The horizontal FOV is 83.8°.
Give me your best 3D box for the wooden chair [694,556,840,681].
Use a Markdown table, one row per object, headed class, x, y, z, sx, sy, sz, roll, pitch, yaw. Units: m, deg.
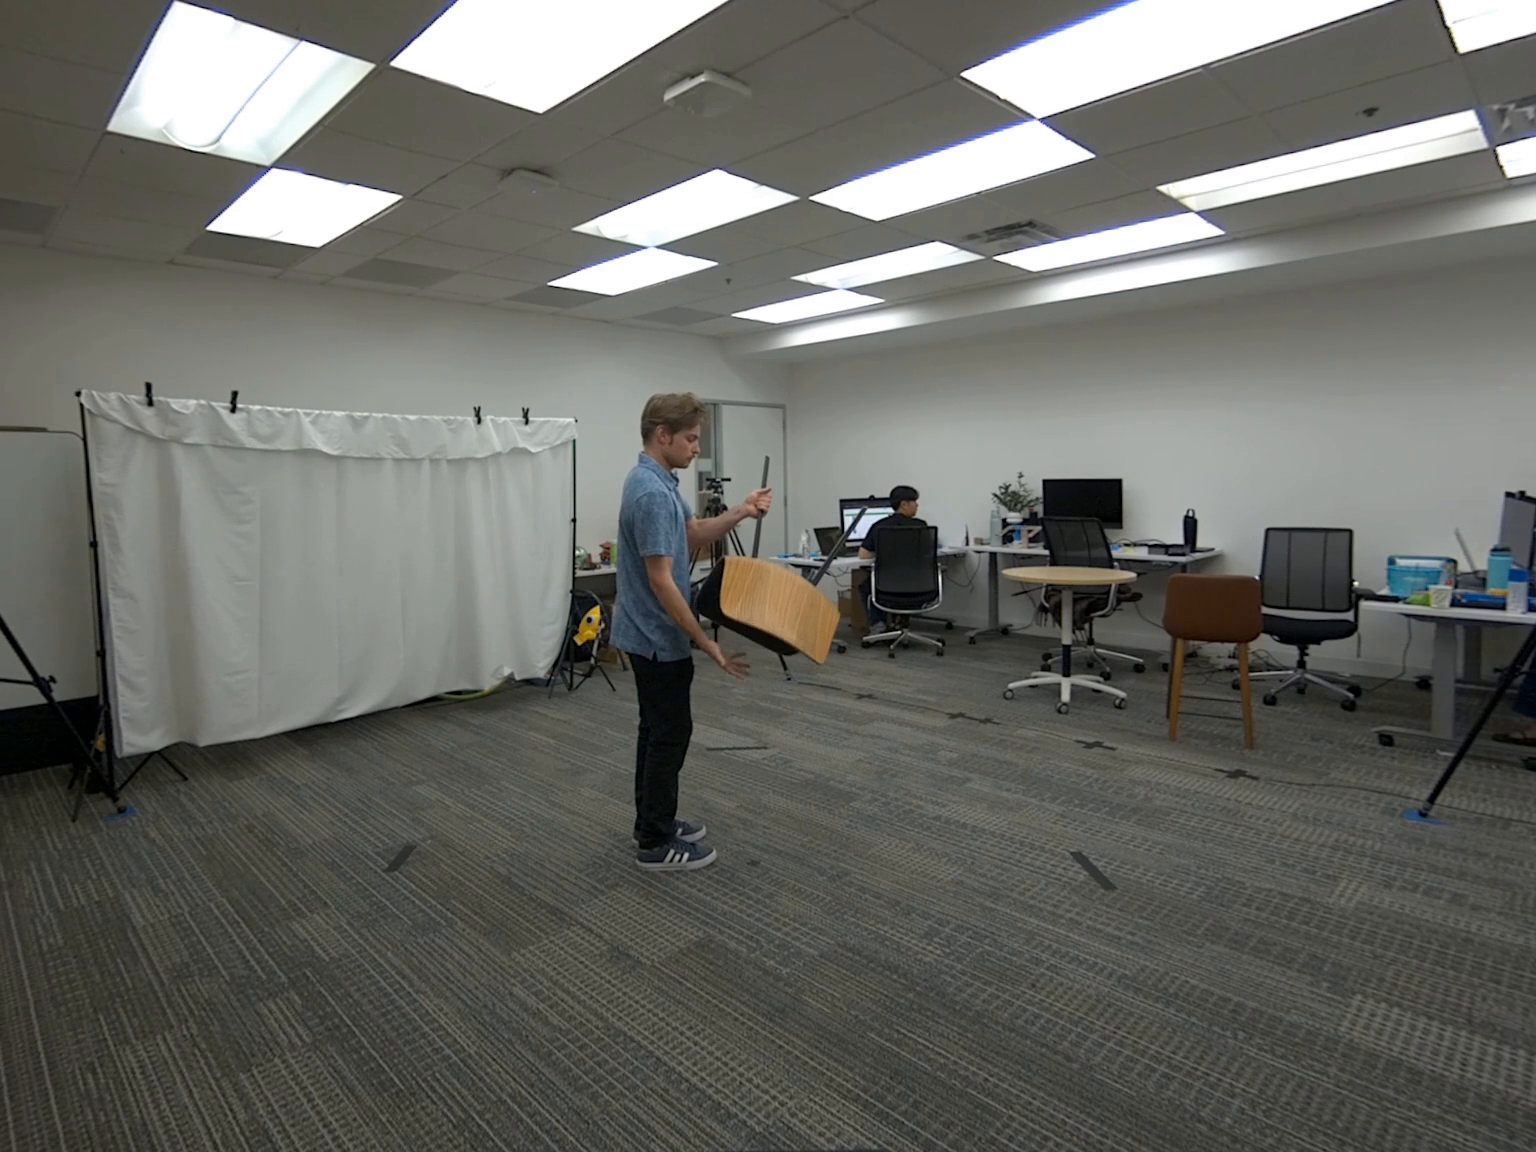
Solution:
| class | x | y | z | sx | sy | sz | roll | pitch | yaw |
| --- | --- | --- | --- | --- | --- | --- | --- | --- | --- |
| wooden chair | -0.001 | 0.067 | 3.192 | 0.473 | 0.520 | 0.892 | 26 | 42 | -9 |
